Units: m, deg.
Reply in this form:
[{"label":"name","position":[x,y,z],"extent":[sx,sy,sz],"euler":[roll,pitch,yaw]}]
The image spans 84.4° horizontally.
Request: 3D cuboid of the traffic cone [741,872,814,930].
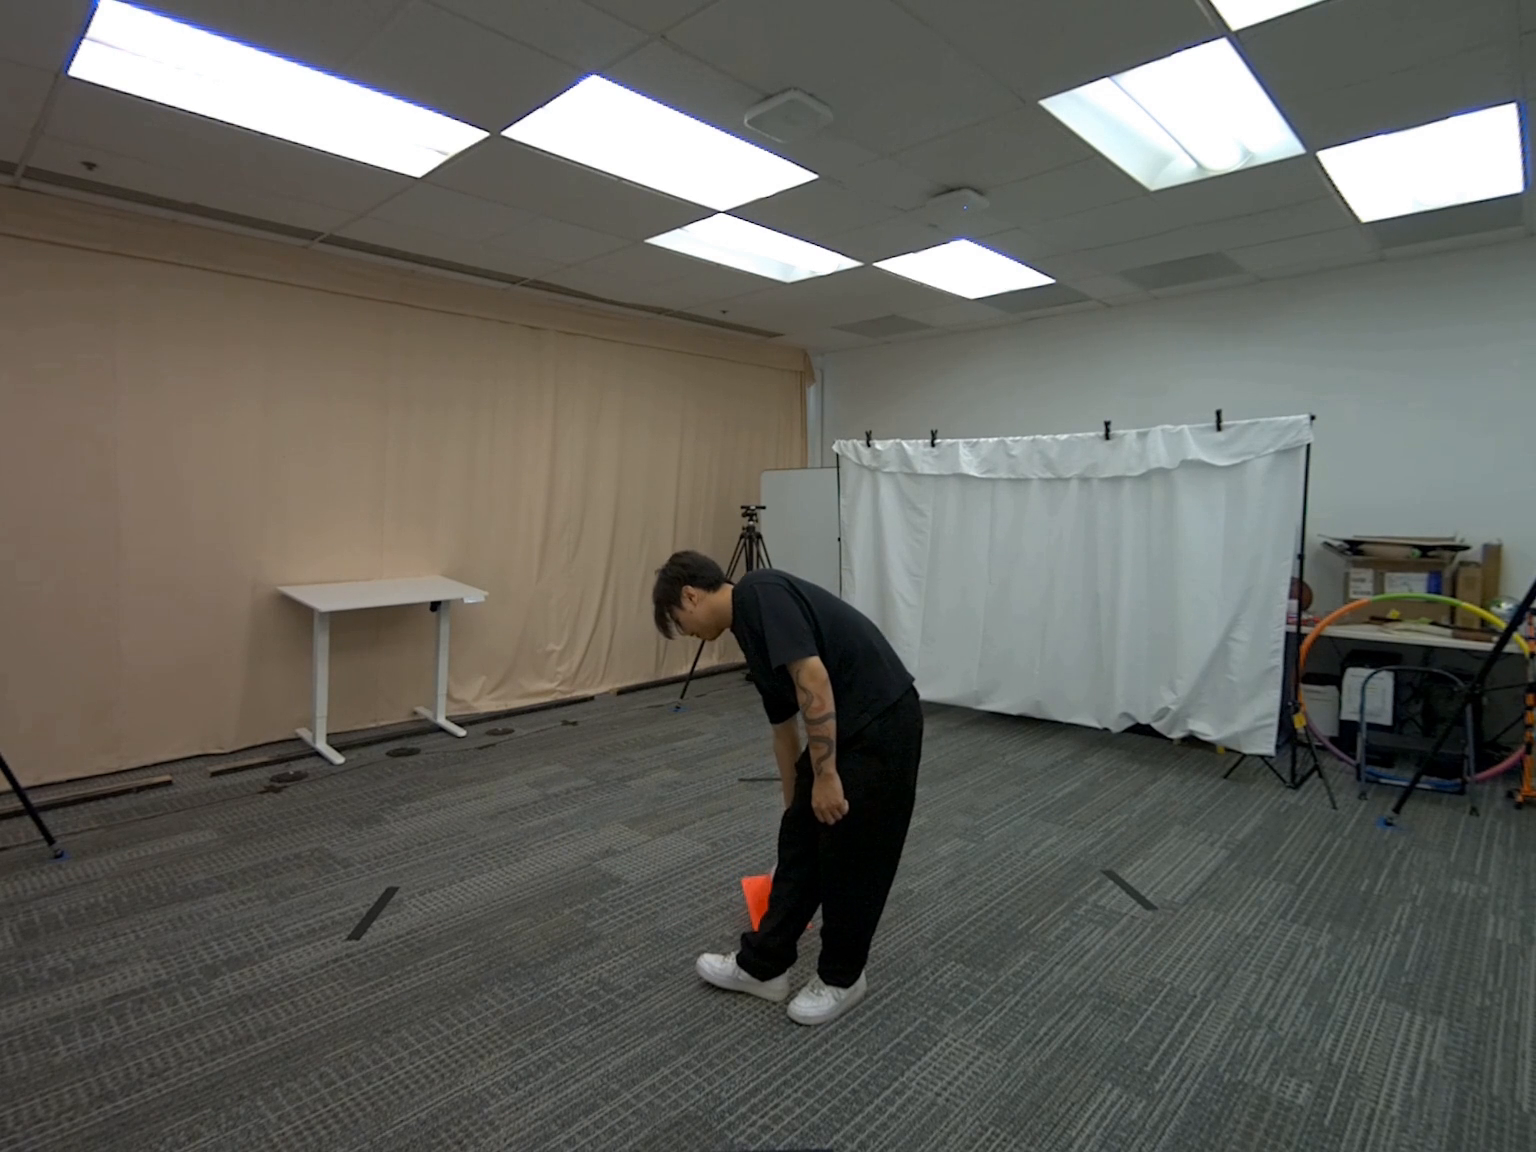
[{"label":"traffic cone","position":[0.067,0.960,2.709],"extent":[0.199,0.380,0.211],"euler":[-3,42,-21]}]
